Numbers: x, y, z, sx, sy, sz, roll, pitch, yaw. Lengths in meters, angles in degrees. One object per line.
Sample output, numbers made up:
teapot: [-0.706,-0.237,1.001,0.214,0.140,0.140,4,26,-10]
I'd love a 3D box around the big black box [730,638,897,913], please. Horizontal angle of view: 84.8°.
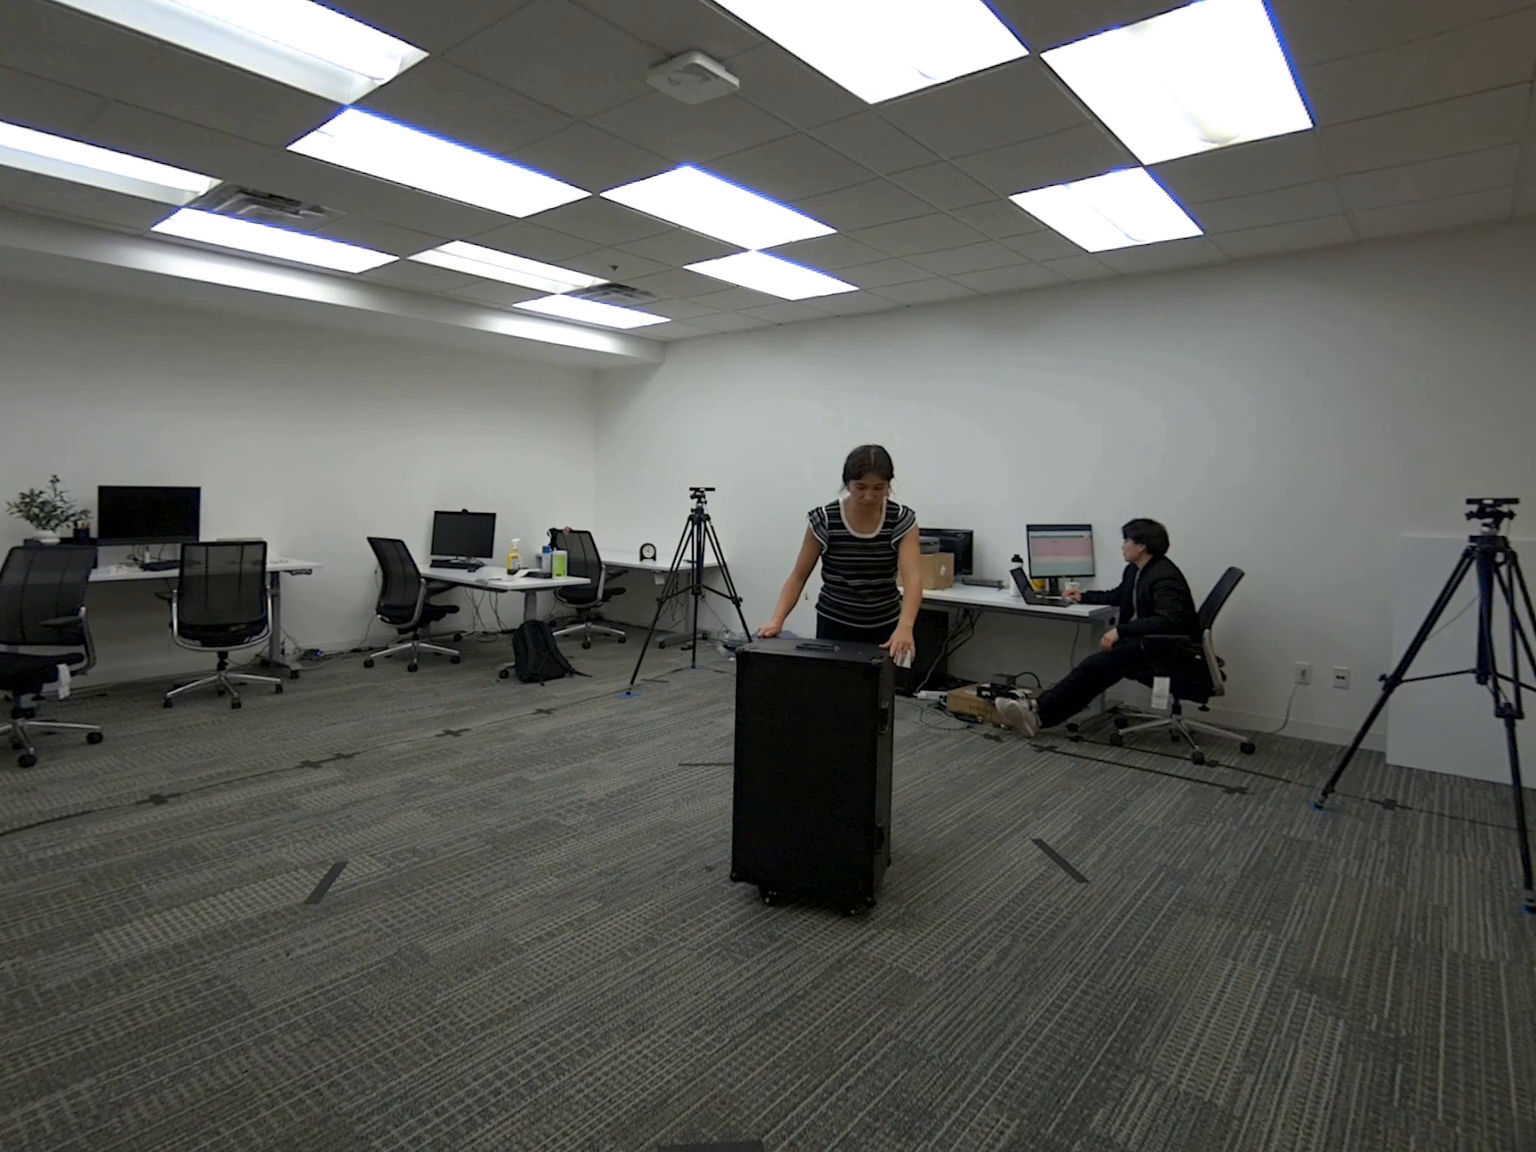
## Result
big black box: [0.152,0.666,2.938,0.532,0.860,0.389,3,2,19]
